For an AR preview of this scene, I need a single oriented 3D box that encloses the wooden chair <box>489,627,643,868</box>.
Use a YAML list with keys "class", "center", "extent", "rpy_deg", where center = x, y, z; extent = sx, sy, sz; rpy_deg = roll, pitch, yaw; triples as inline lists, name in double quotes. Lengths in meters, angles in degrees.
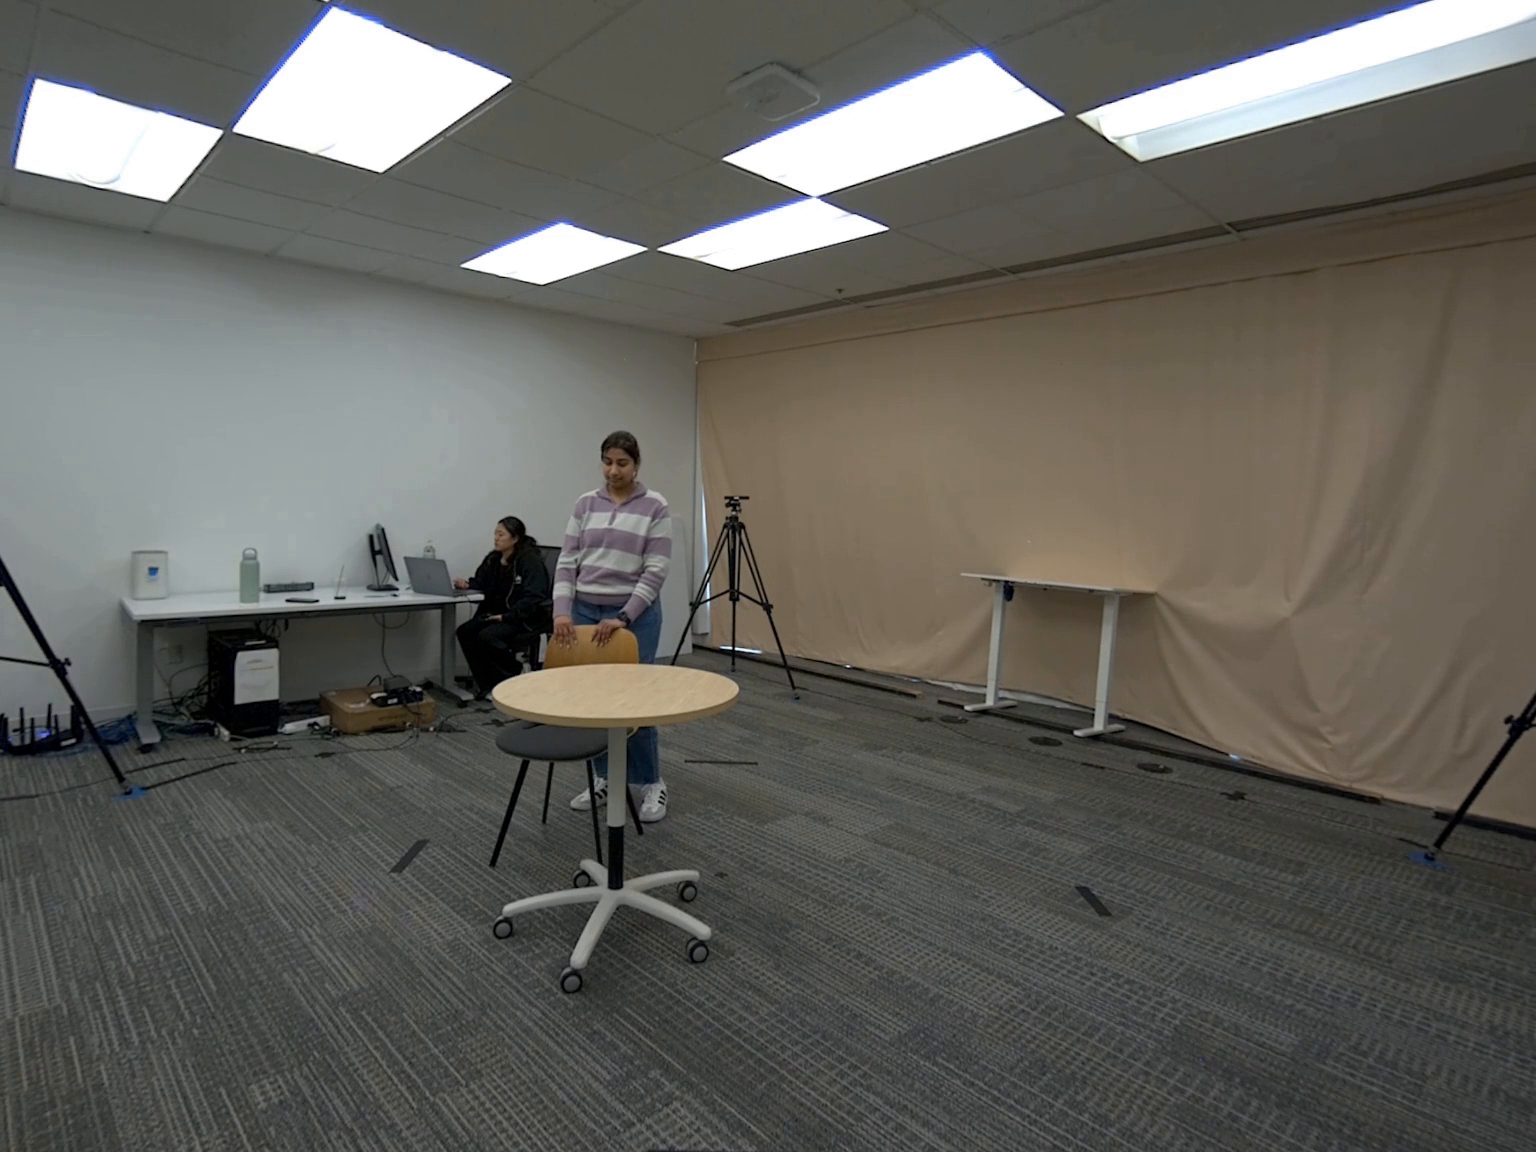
- class: "wooden chair"
  center: [-0.772, 0.651, 3.252]
  extent: [0.483, 0.878, 0.517]
  rpy_deg: [2, -1, 13]
